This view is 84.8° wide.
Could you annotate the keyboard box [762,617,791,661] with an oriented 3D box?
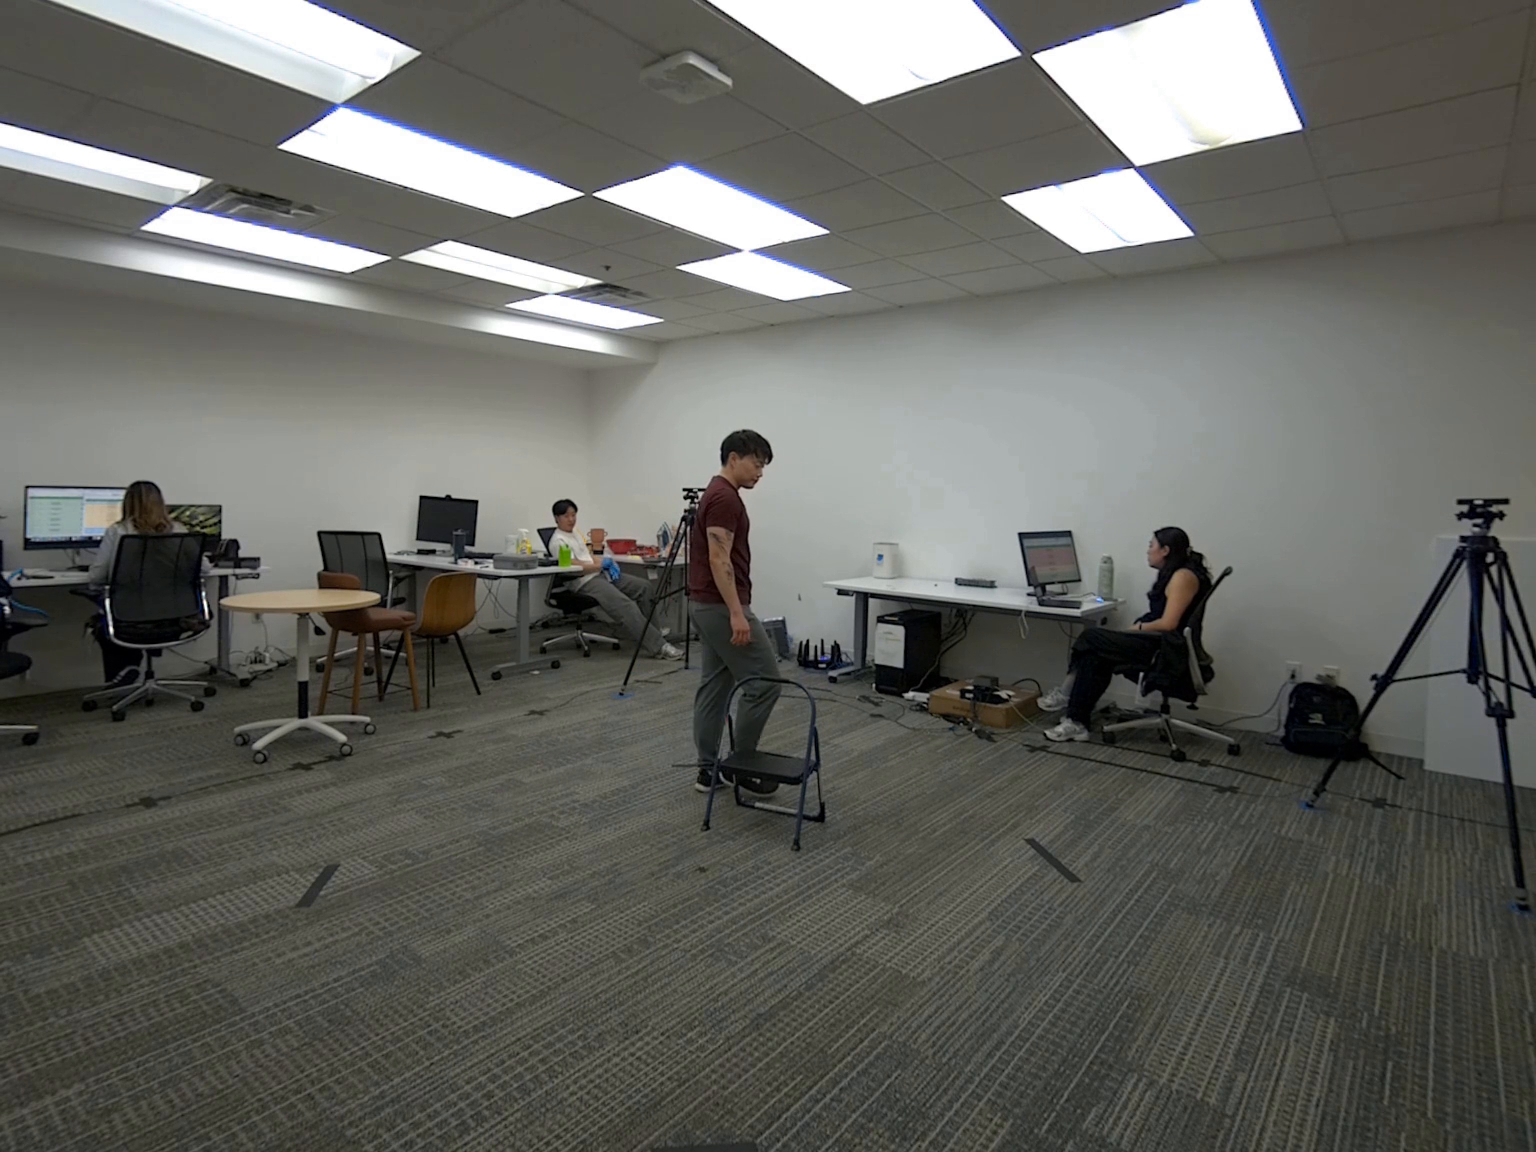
[{"bbox_3d":[-0.133,0.311,4.198,0.442,0.174,0.059,-8,11,13],"label":"keyboard box"}]
